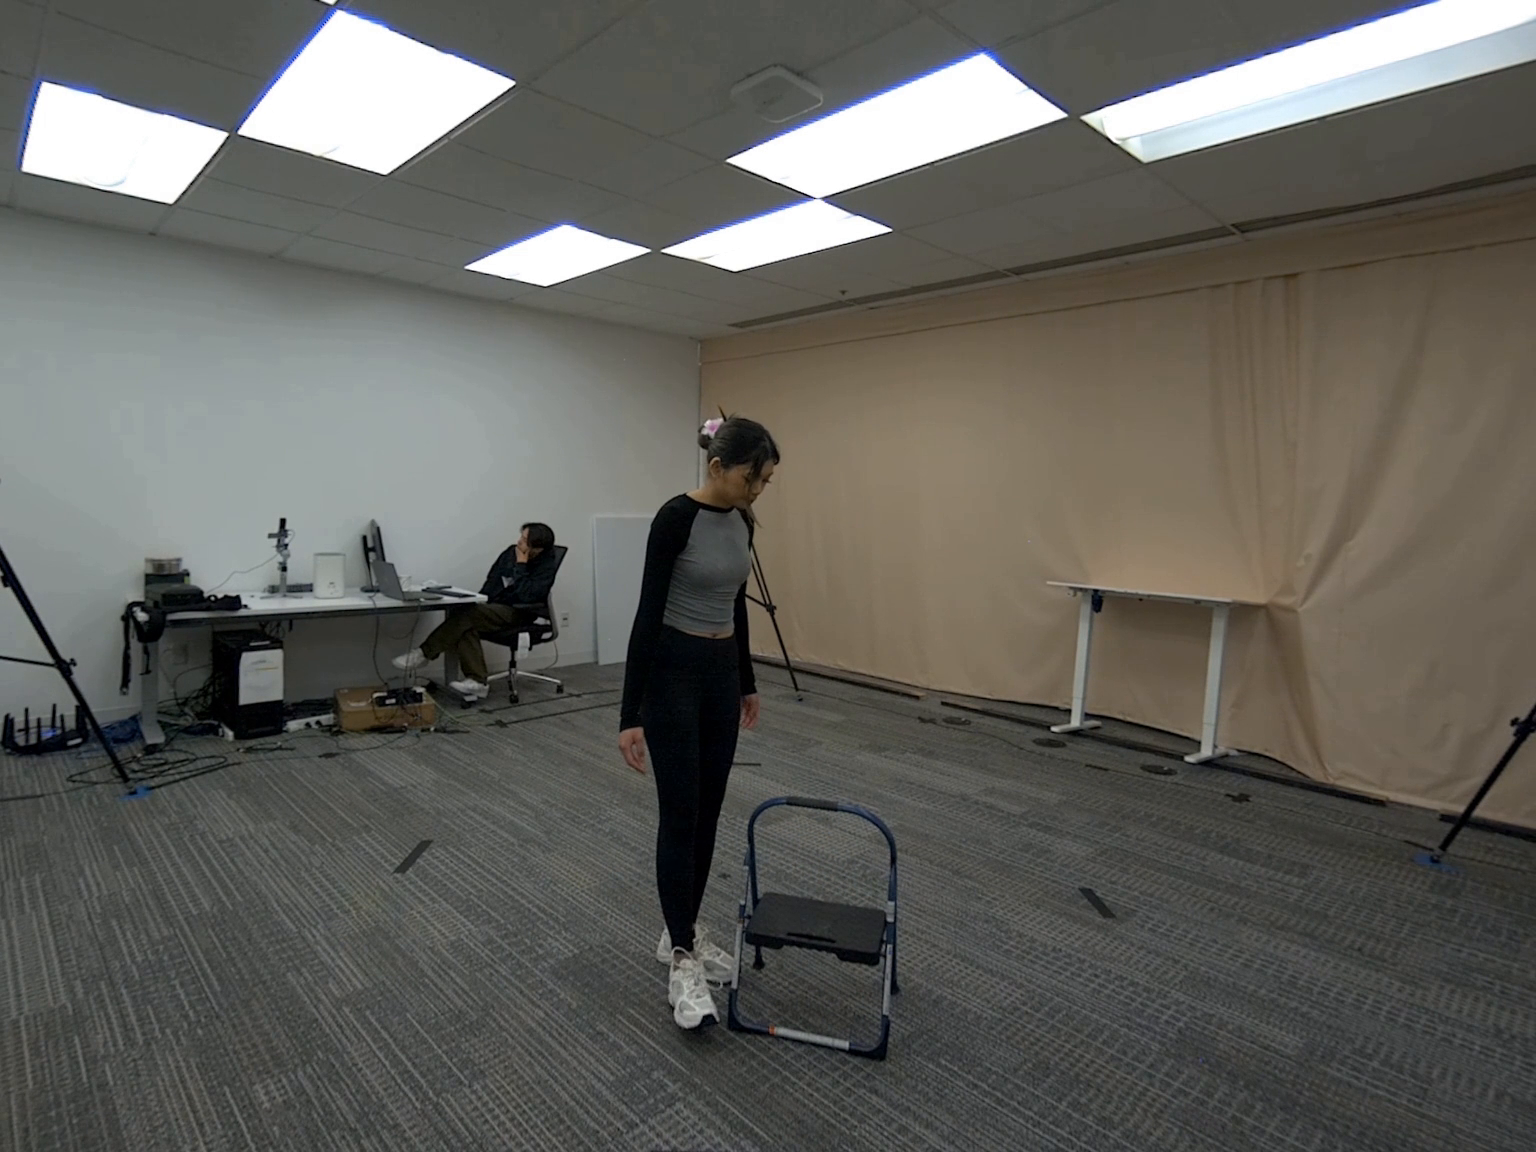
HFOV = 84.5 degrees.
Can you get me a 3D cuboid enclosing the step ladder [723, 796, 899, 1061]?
[{"bbox_3d":[0.137,0.889,2.292,0.436,0.605,0.346,3,3,14],"label":"step ladder"}]
